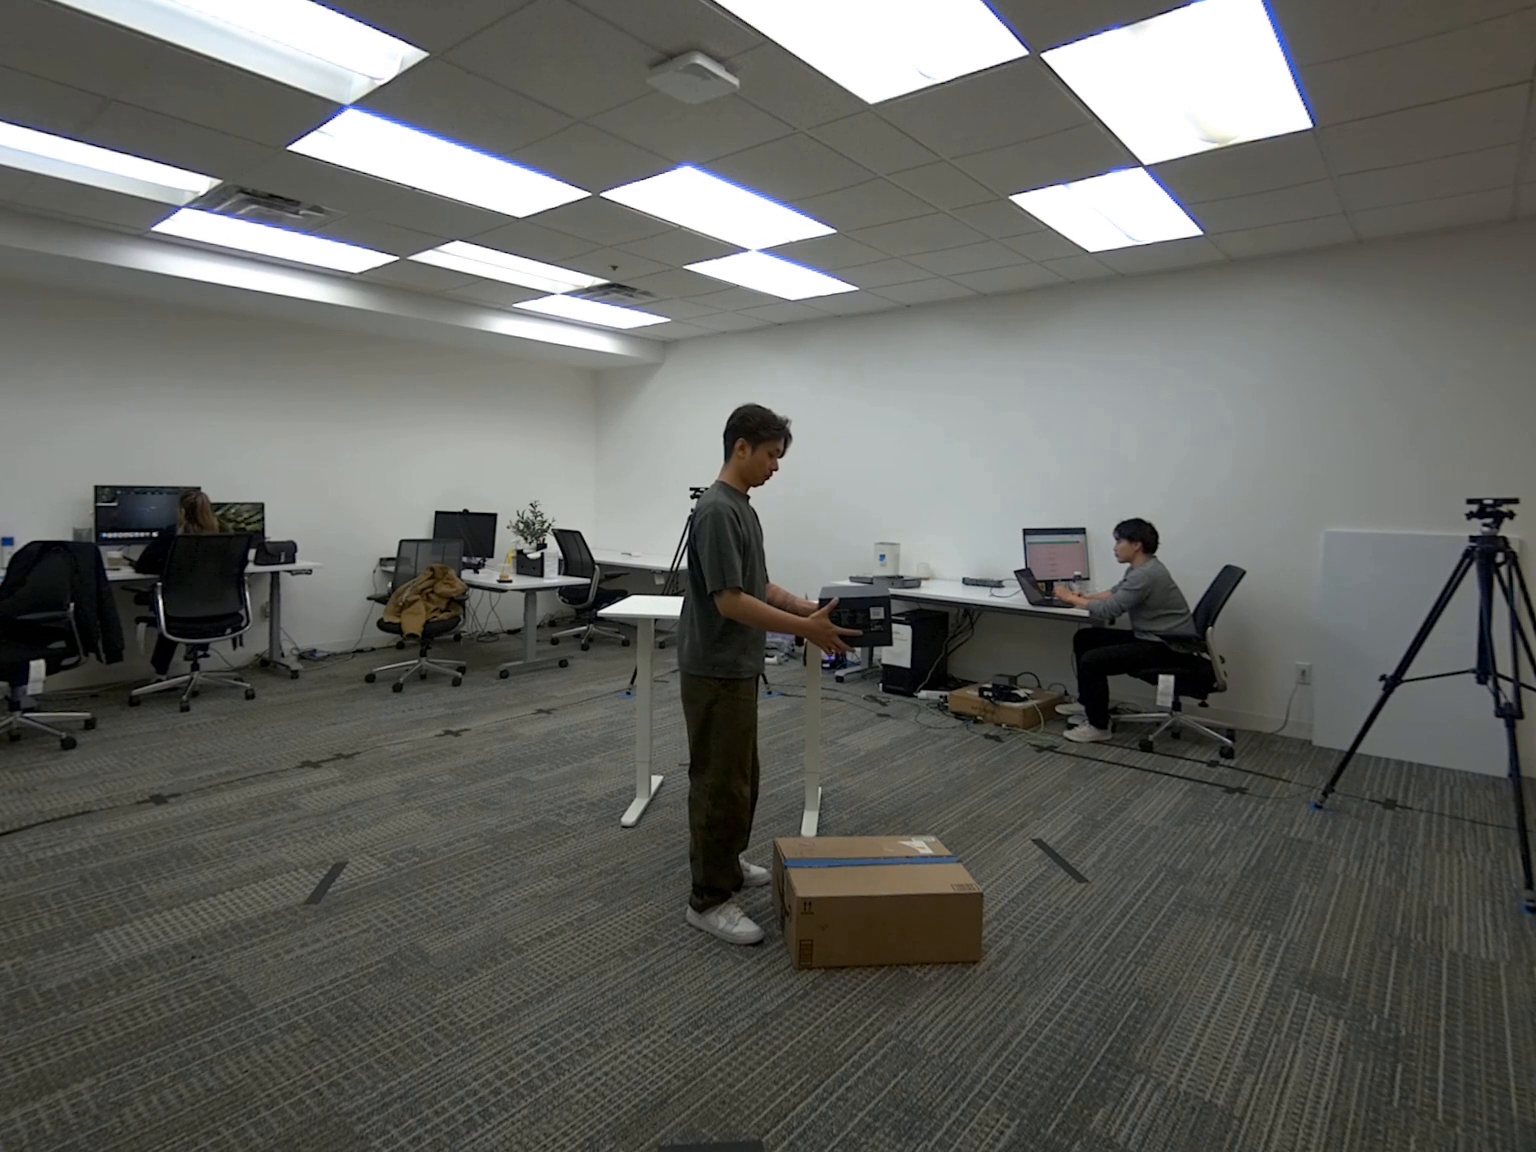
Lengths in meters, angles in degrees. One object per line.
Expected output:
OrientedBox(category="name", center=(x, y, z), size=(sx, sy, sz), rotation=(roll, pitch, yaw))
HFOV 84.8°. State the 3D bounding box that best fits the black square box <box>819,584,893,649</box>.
OrientedBox(category="black square box", center=(0.274, 0.124, 2.645), size=(0.218, 0.155, 0.228), rotation=(-3, 7, 5))
